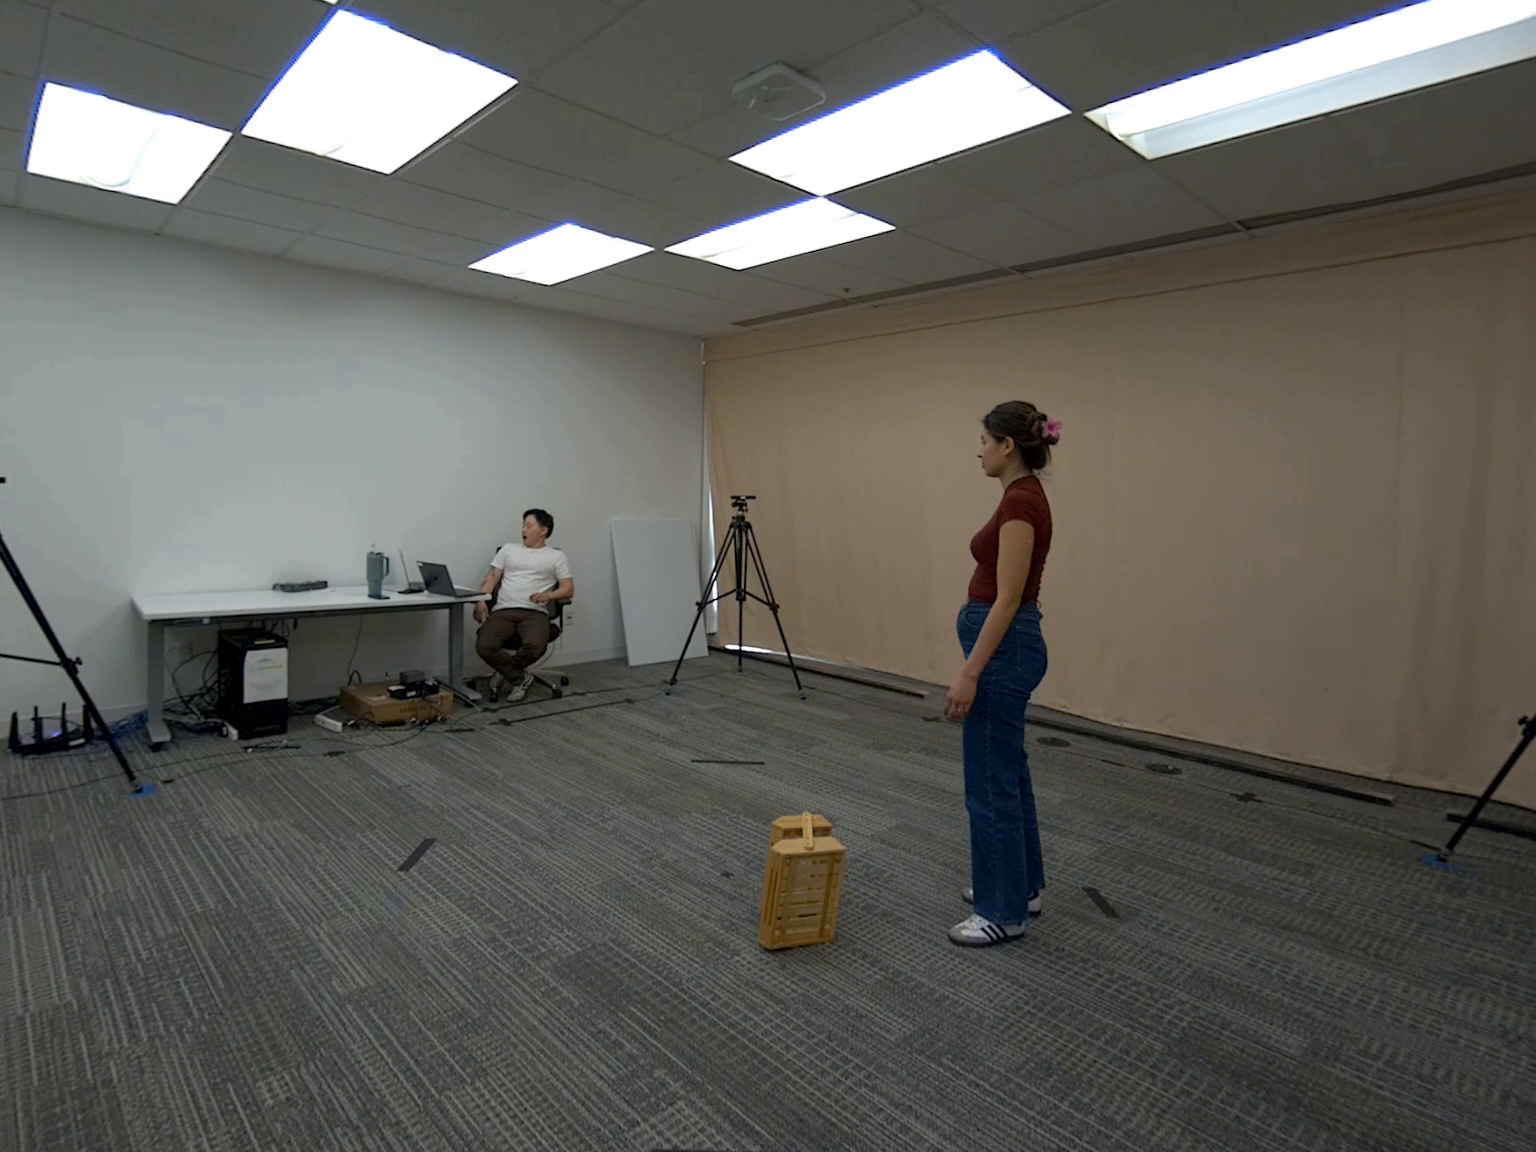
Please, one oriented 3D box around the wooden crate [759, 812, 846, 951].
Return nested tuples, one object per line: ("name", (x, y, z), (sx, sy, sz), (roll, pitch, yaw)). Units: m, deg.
("wooden crate", (0.070, 0.977, 2.715), (0.296, 0.323, 0.279), (4, 6, -24))
